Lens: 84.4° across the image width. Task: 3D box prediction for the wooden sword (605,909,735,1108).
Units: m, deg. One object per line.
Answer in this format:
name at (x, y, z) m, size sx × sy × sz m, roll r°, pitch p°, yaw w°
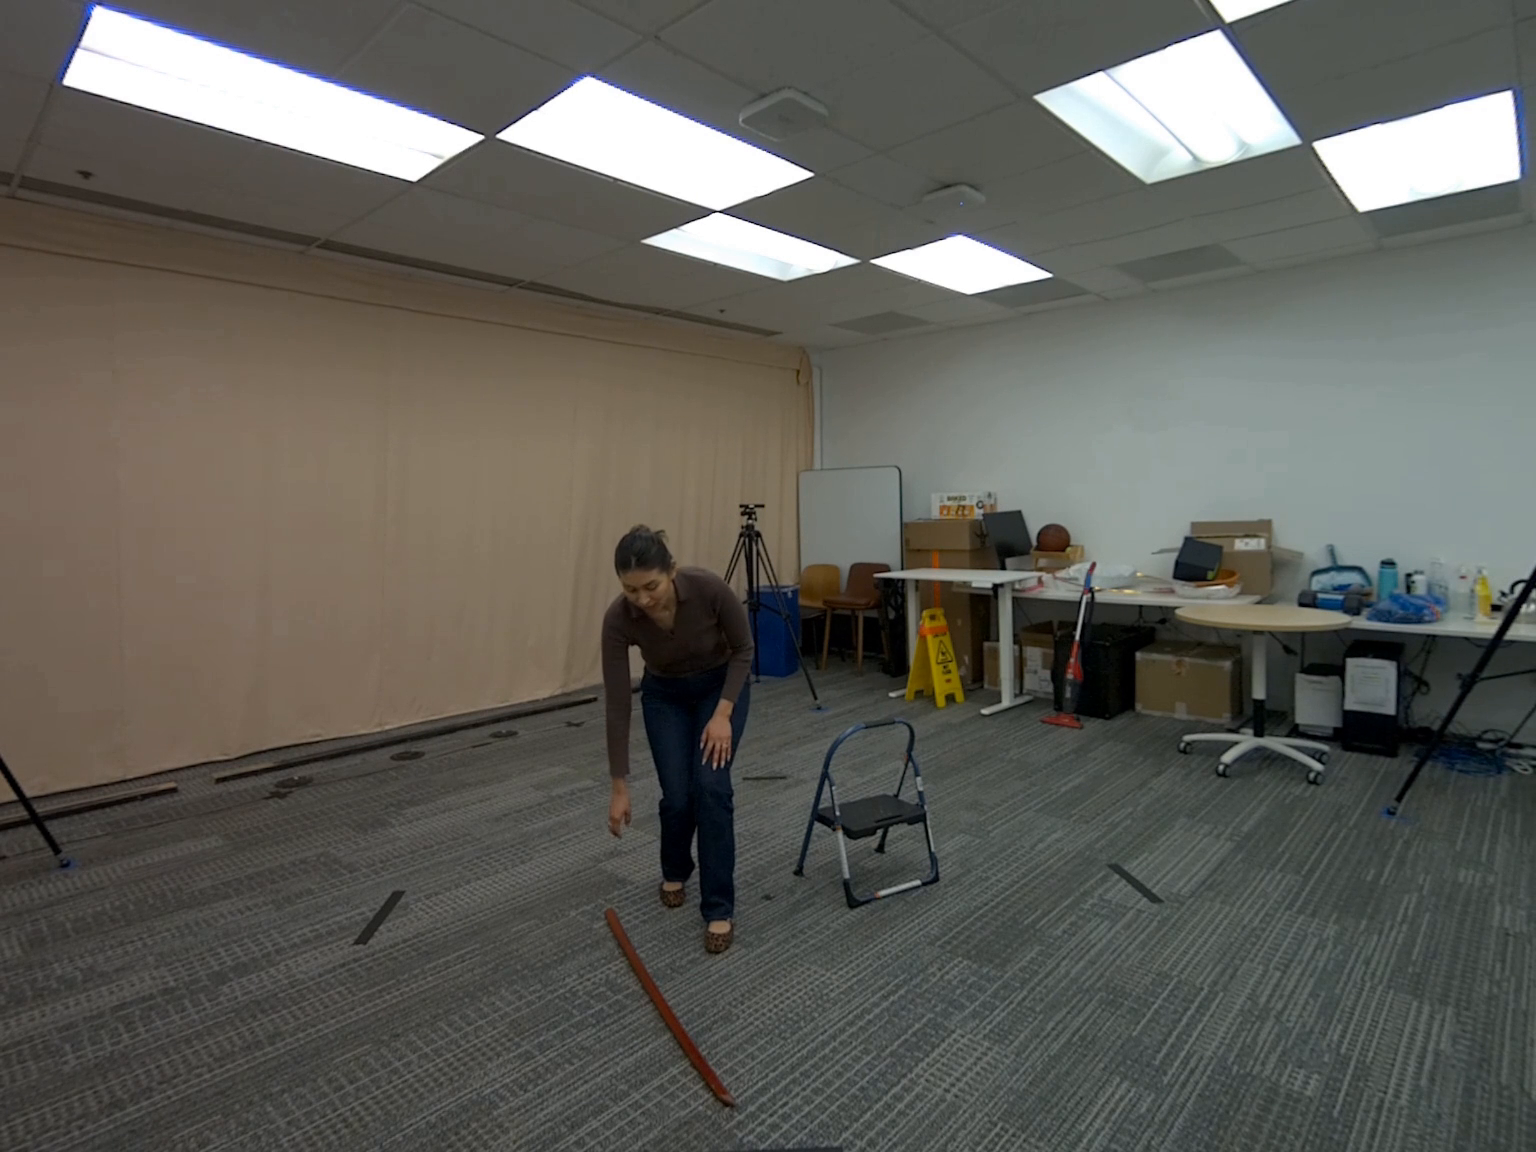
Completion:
wooden sword at (-0.316, 1.174, 2.416) m, size 0.050 × 0.024 × 1.051 m, roll -4°, pitch 6°, yaw -25°
